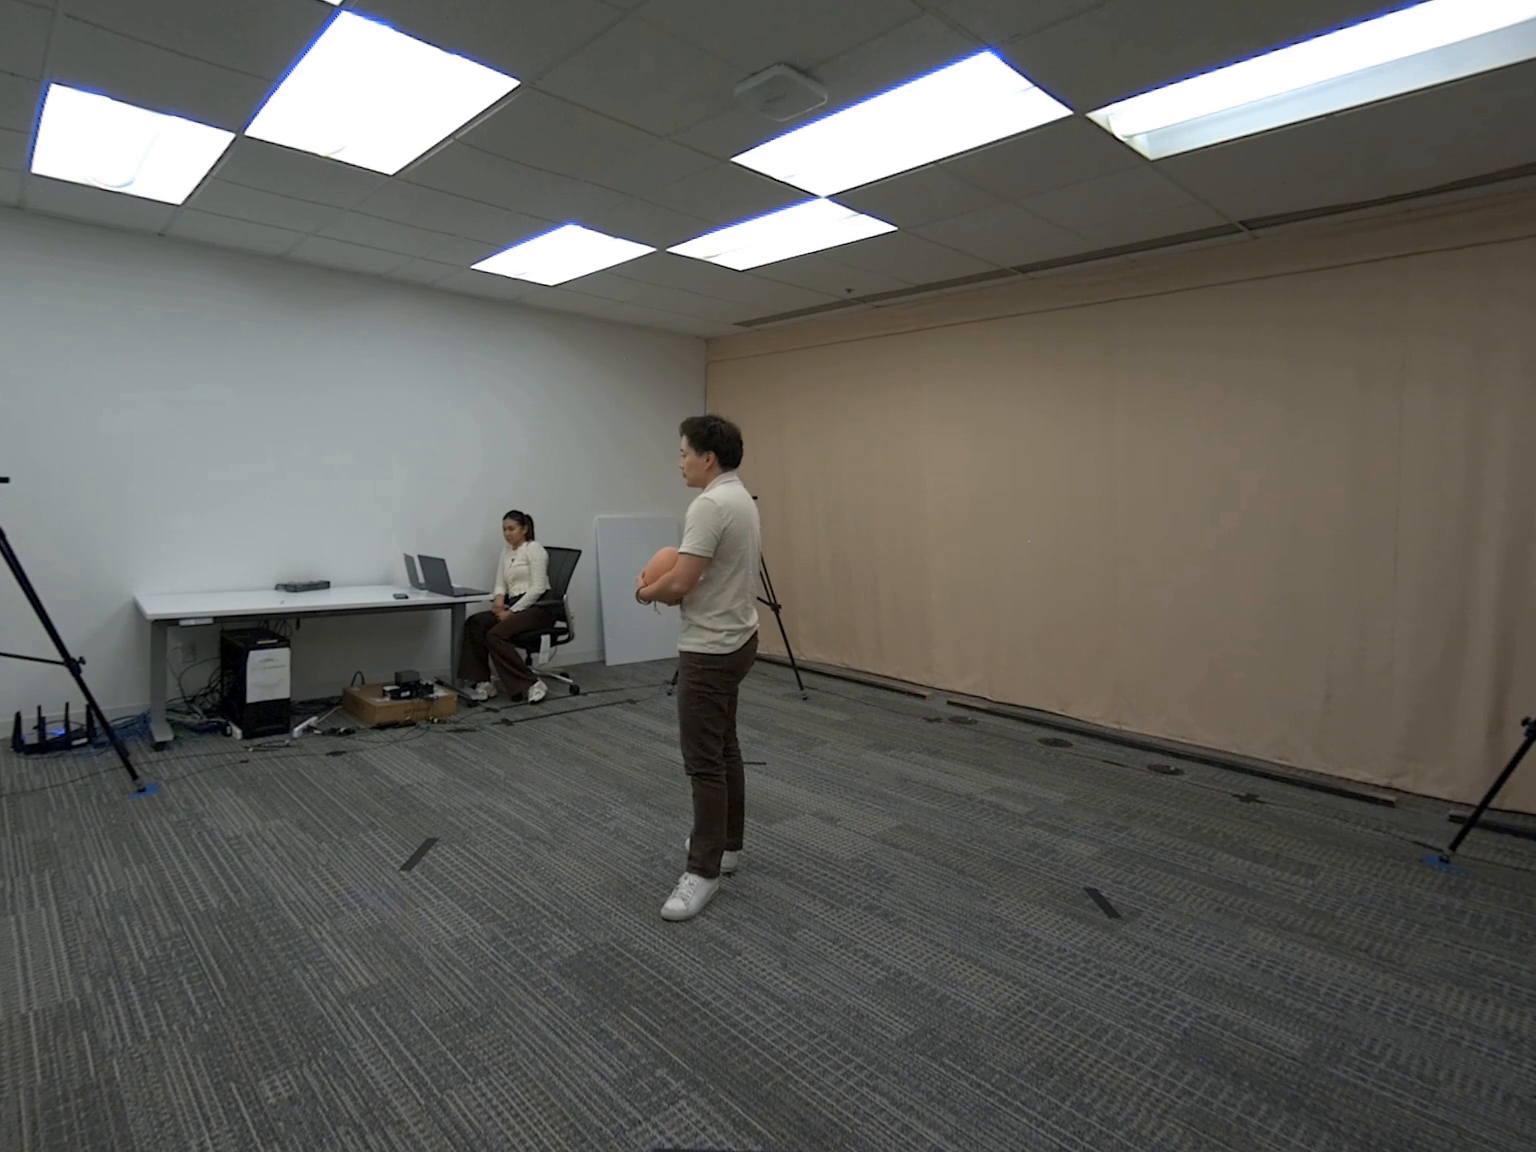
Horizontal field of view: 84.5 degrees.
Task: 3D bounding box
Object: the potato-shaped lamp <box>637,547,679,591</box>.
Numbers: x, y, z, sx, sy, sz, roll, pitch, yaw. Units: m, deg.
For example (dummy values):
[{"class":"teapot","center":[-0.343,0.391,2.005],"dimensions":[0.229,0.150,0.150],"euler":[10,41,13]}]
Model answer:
[{"class":"potato-shaped lamp","center":[-0.356,-0.018,3.021],"dimensions":[0.165,0.173,0.196],"euler":[28,-41,-1]}]
